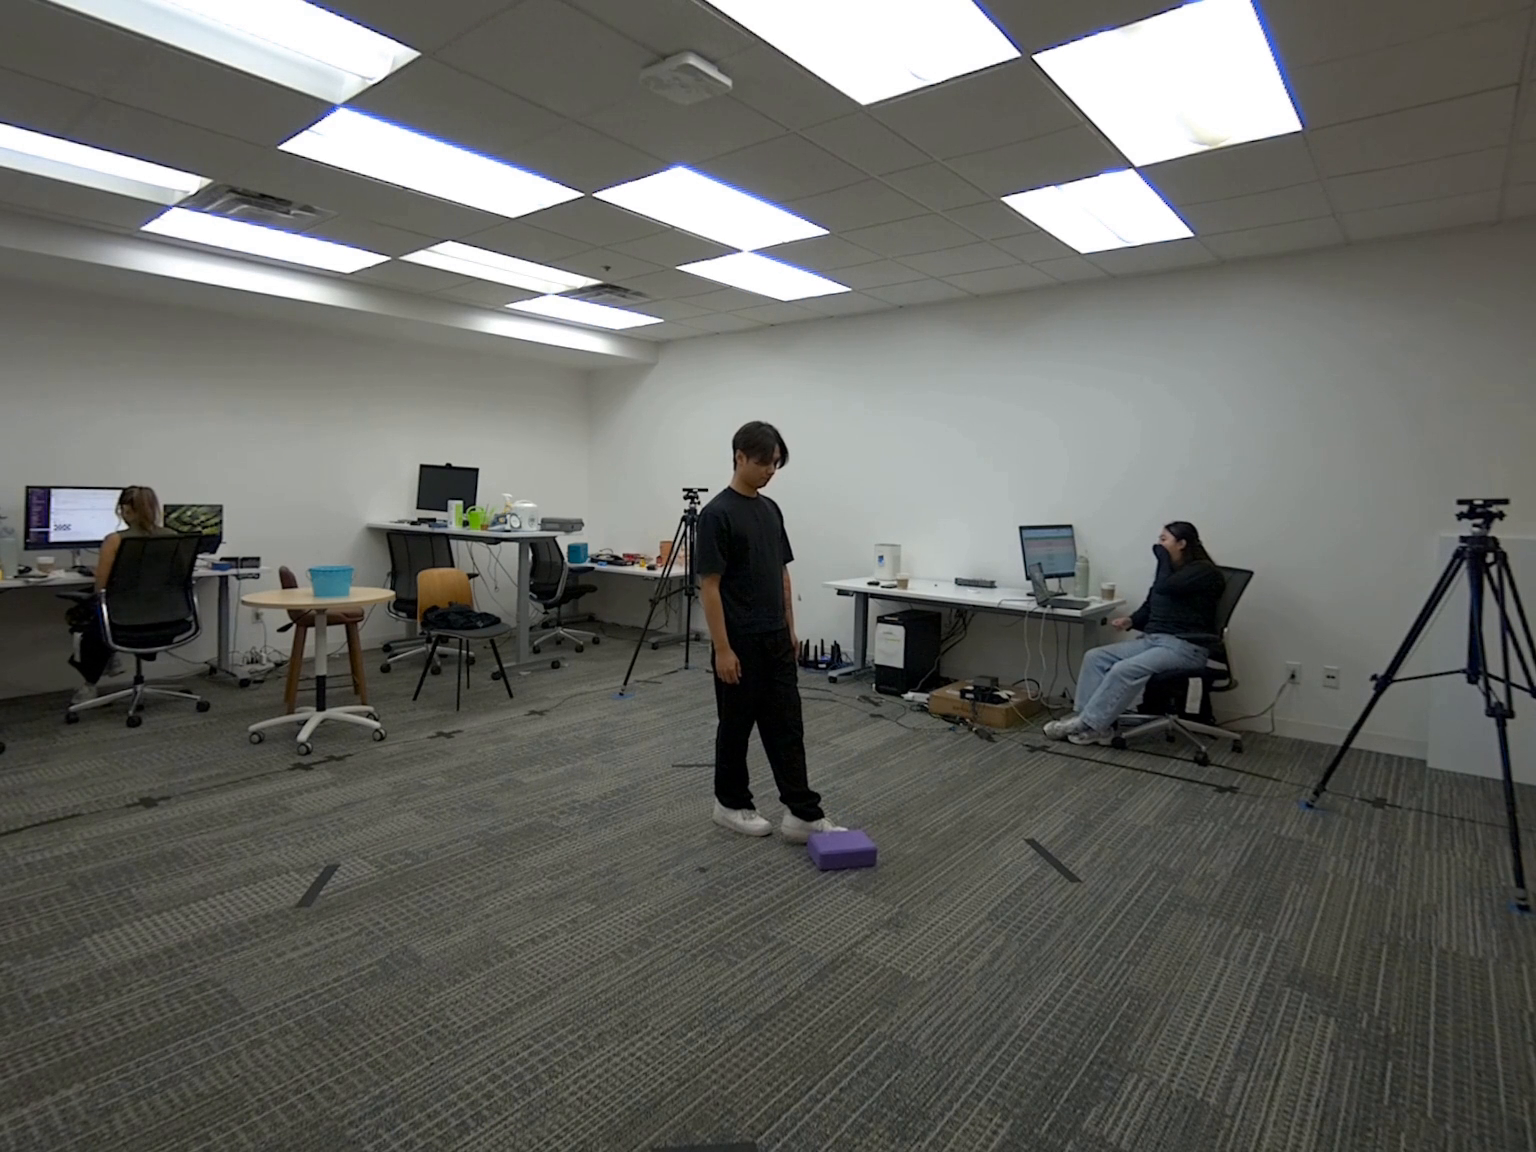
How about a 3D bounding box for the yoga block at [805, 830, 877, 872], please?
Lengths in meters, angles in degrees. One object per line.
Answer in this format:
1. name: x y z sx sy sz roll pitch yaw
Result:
1. yoga block: 0.274 1.028 3.202 0.226 0.076 0.152 0 10 -14
